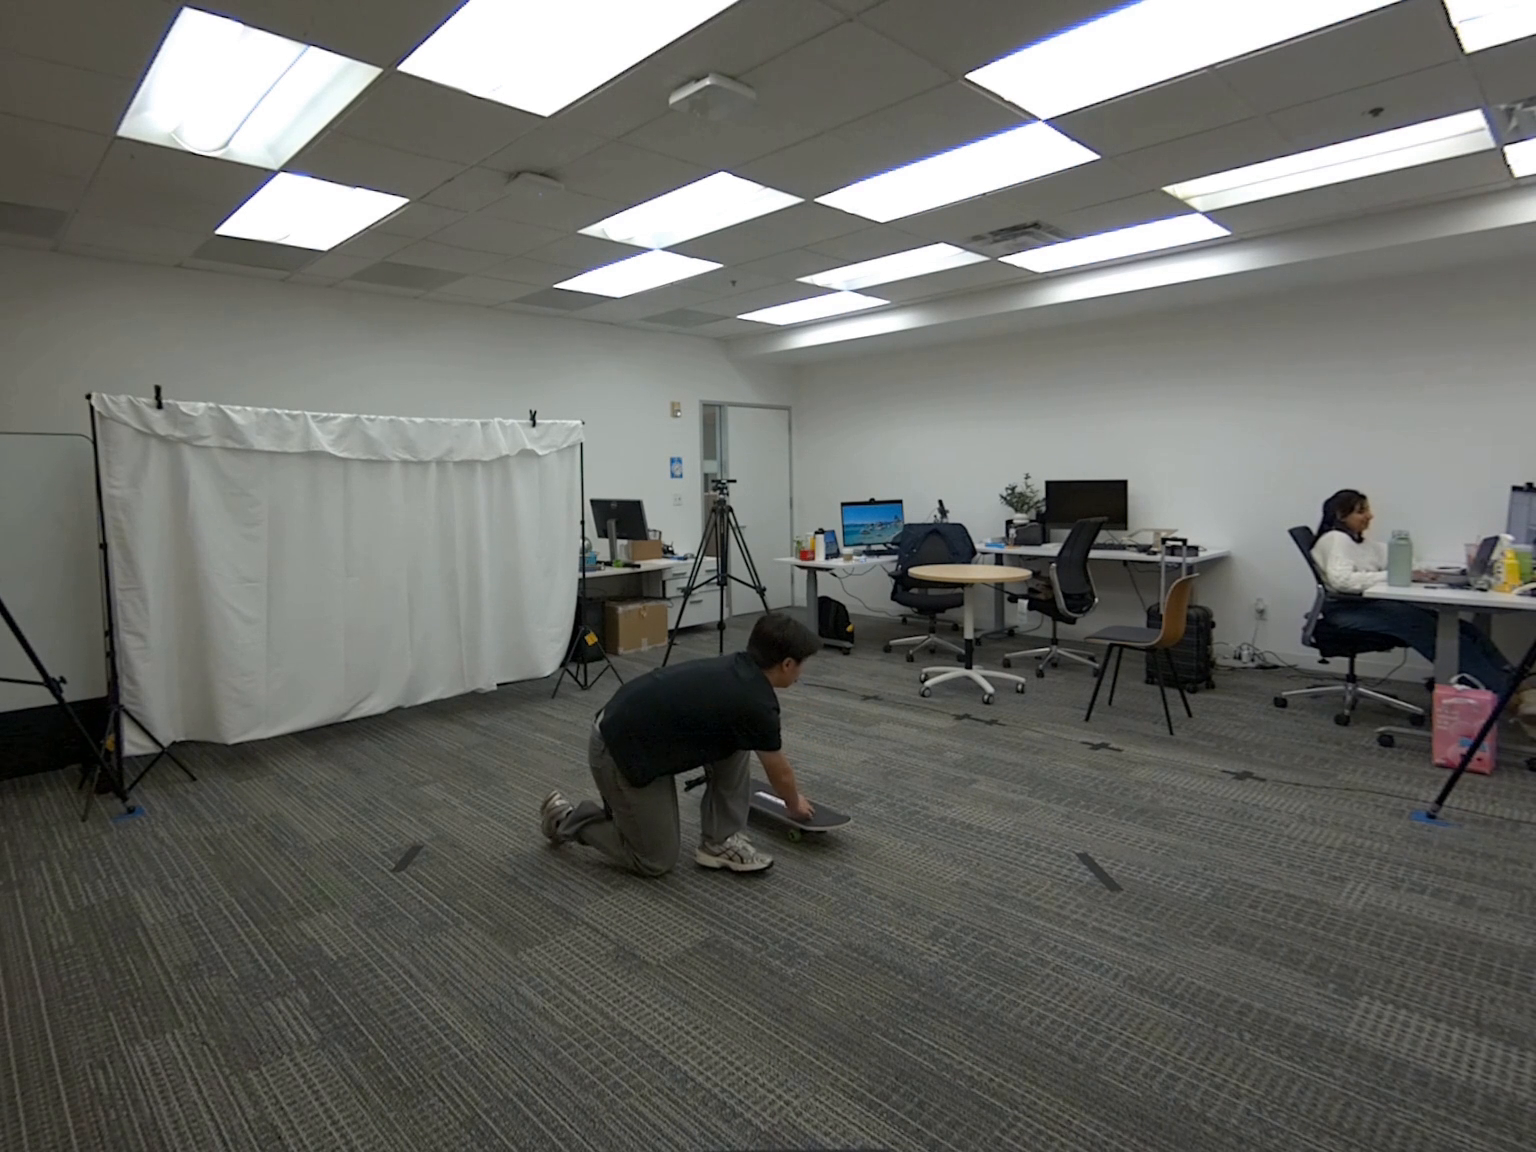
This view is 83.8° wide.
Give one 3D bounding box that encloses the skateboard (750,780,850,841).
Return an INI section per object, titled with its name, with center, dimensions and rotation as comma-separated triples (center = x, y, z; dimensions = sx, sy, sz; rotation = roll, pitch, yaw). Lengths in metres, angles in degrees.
[skateboard]
center = 0.021, 0.942, 3.489
dimensions = 0.188, 0.110, 0.810
rotation = -6, 8, -41
